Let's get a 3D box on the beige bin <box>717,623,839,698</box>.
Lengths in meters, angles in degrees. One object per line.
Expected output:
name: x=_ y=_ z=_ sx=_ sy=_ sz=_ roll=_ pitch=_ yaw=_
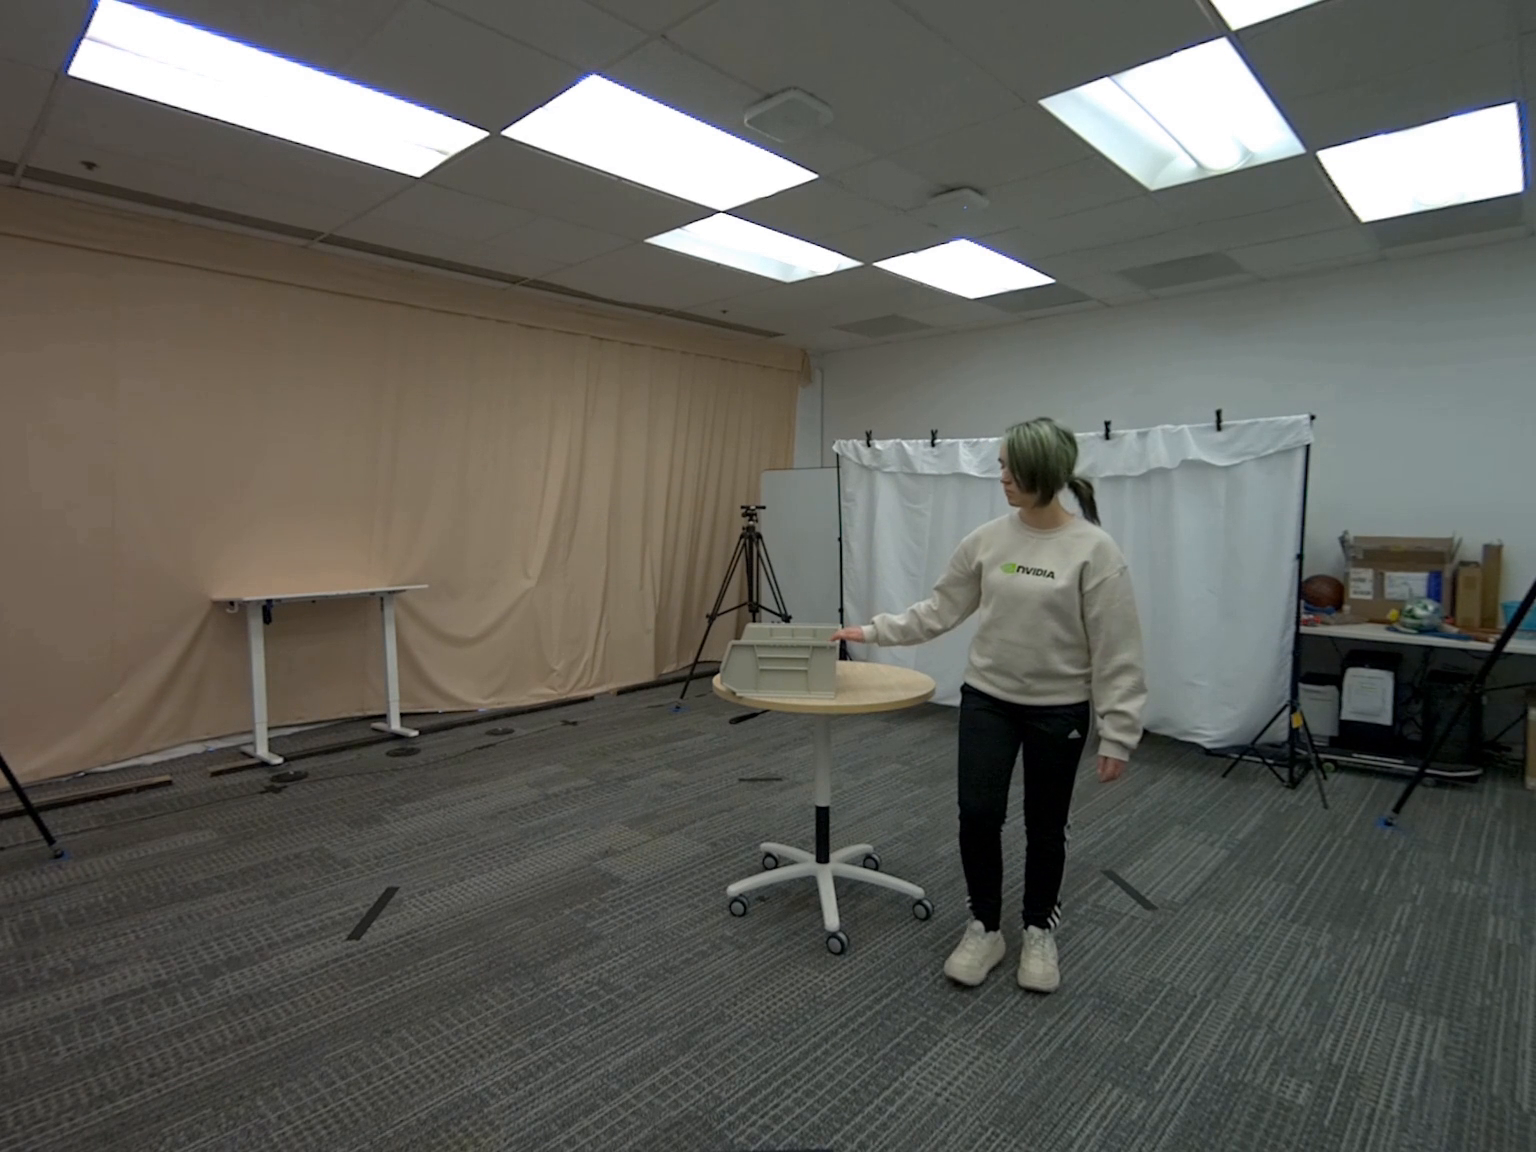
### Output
beige bin: x=0.064 y=0.276 z=2.856 sx=0.380 sy=0.188 sz=0.420 roll=2 pitch=4 yaw=6
